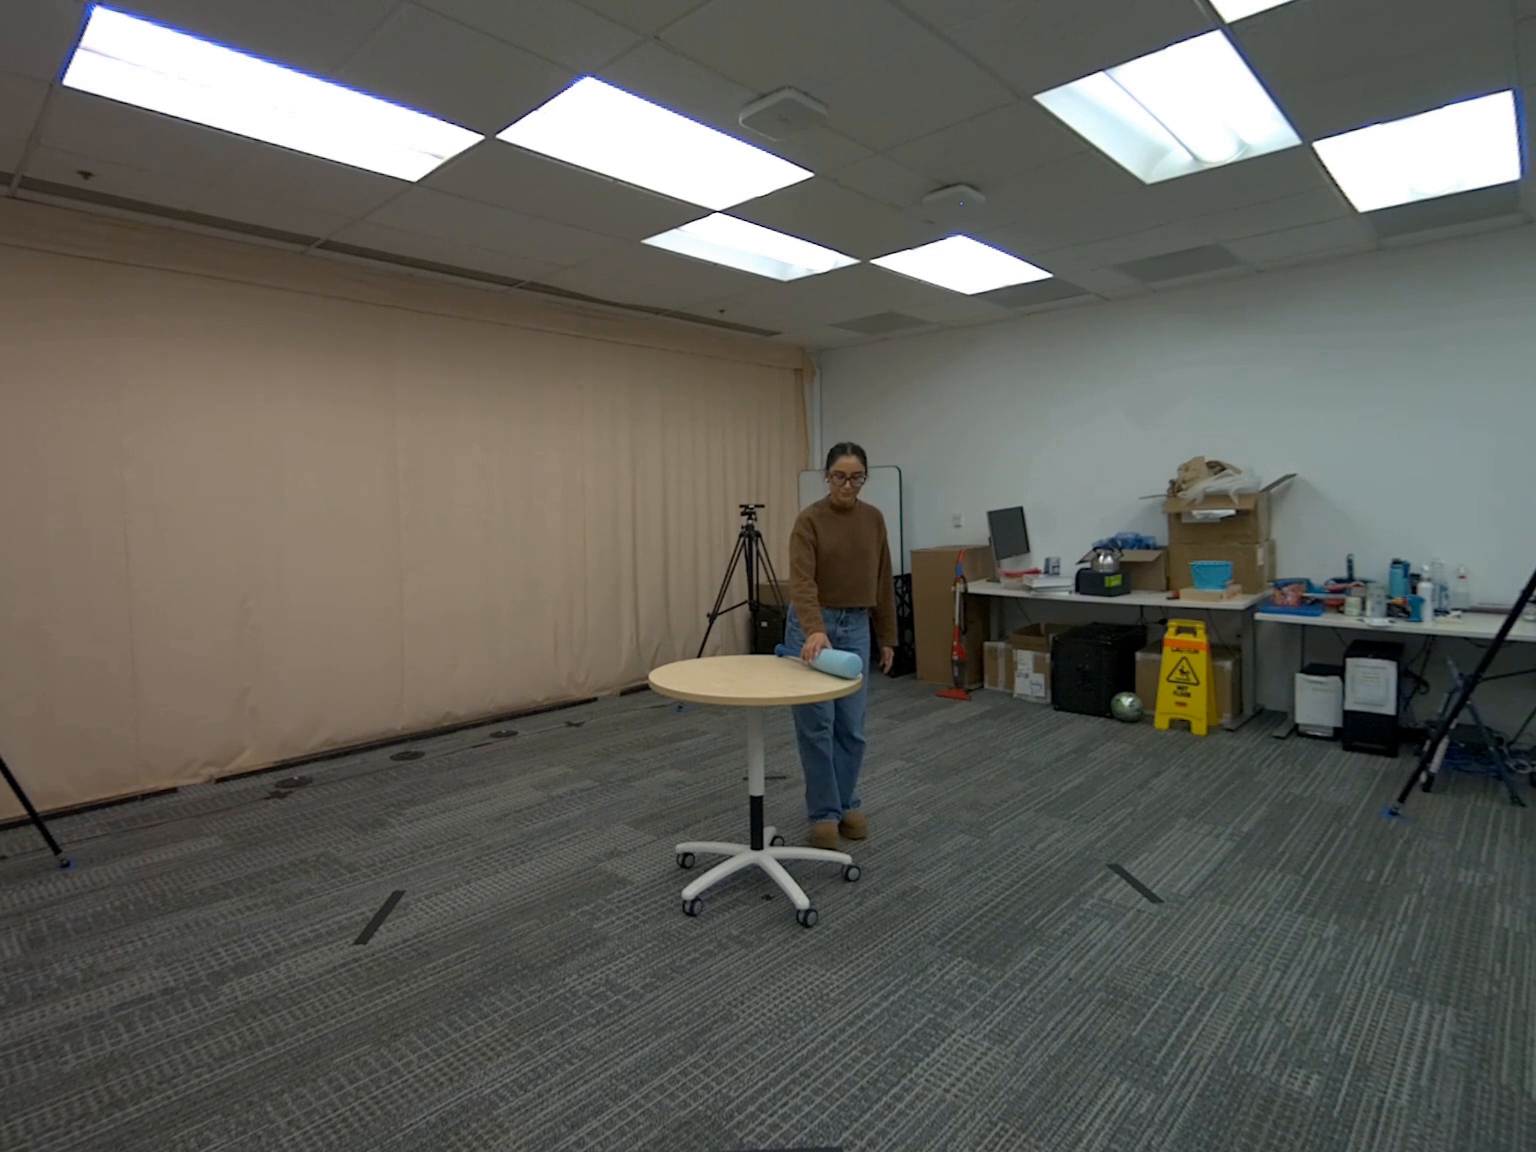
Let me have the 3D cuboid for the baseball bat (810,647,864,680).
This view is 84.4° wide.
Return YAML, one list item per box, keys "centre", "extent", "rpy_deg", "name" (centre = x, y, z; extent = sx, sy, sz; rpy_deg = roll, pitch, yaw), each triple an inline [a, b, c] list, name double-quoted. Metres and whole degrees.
- centre: [0.184, 0.309, 3.138]
  extent: [0.087, 0.089, 0.555]
  rpy_deg: [-2, 1, -25]
  name: "baseball bat"
